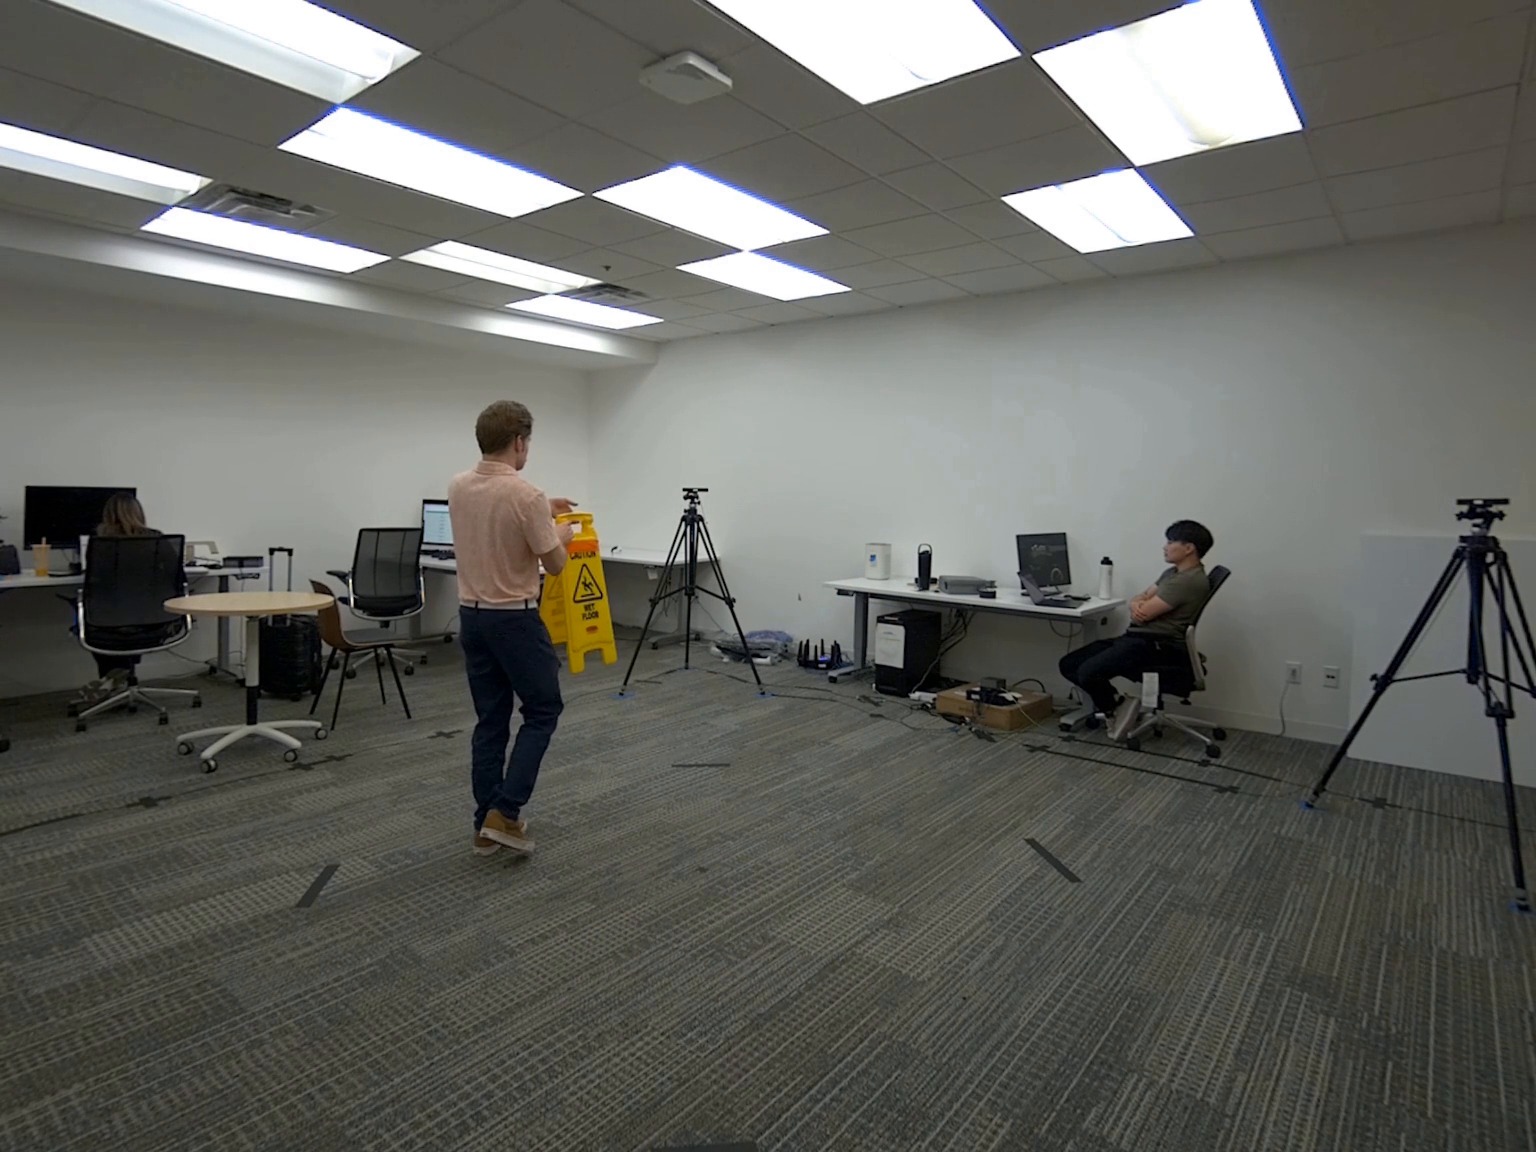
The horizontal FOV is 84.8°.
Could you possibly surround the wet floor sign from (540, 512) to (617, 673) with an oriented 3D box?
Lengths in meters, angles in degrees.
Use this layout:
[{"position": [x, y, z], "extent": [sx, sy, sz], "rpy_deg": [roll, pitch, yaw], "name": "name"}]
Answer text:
[{"position": [-0.842, 0.055, 3.652], "extent": [0.299, 0.642, 0.275], "rpy_deg": [6, 8, 33], "name": "wet floor sign"}]
